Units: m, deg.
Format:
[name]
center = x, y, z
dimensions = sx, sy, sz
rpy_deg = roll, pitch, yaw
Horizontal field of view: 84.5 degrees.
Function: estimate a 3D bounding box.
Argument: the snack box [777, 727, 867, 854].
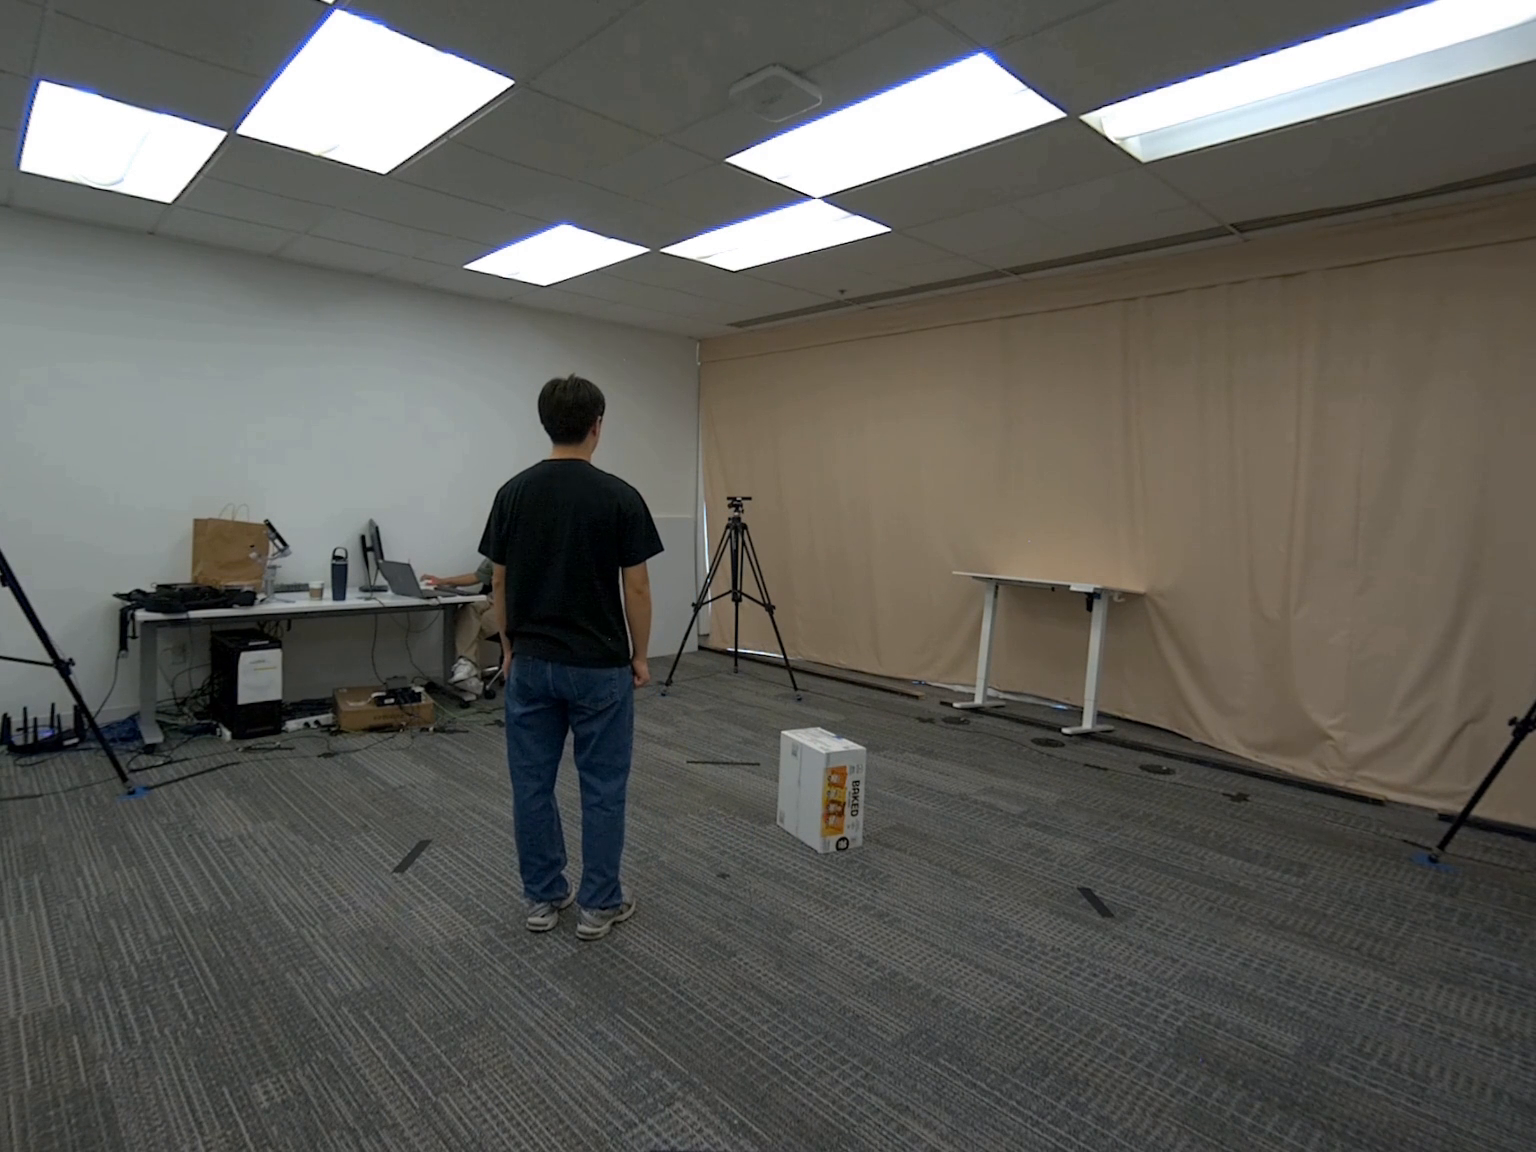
[snack box]
center = 0.215, 0.875, 3.495
dimensions = 0.201, 0.404, 0.348
rpy_deg = 0, 4, -30
